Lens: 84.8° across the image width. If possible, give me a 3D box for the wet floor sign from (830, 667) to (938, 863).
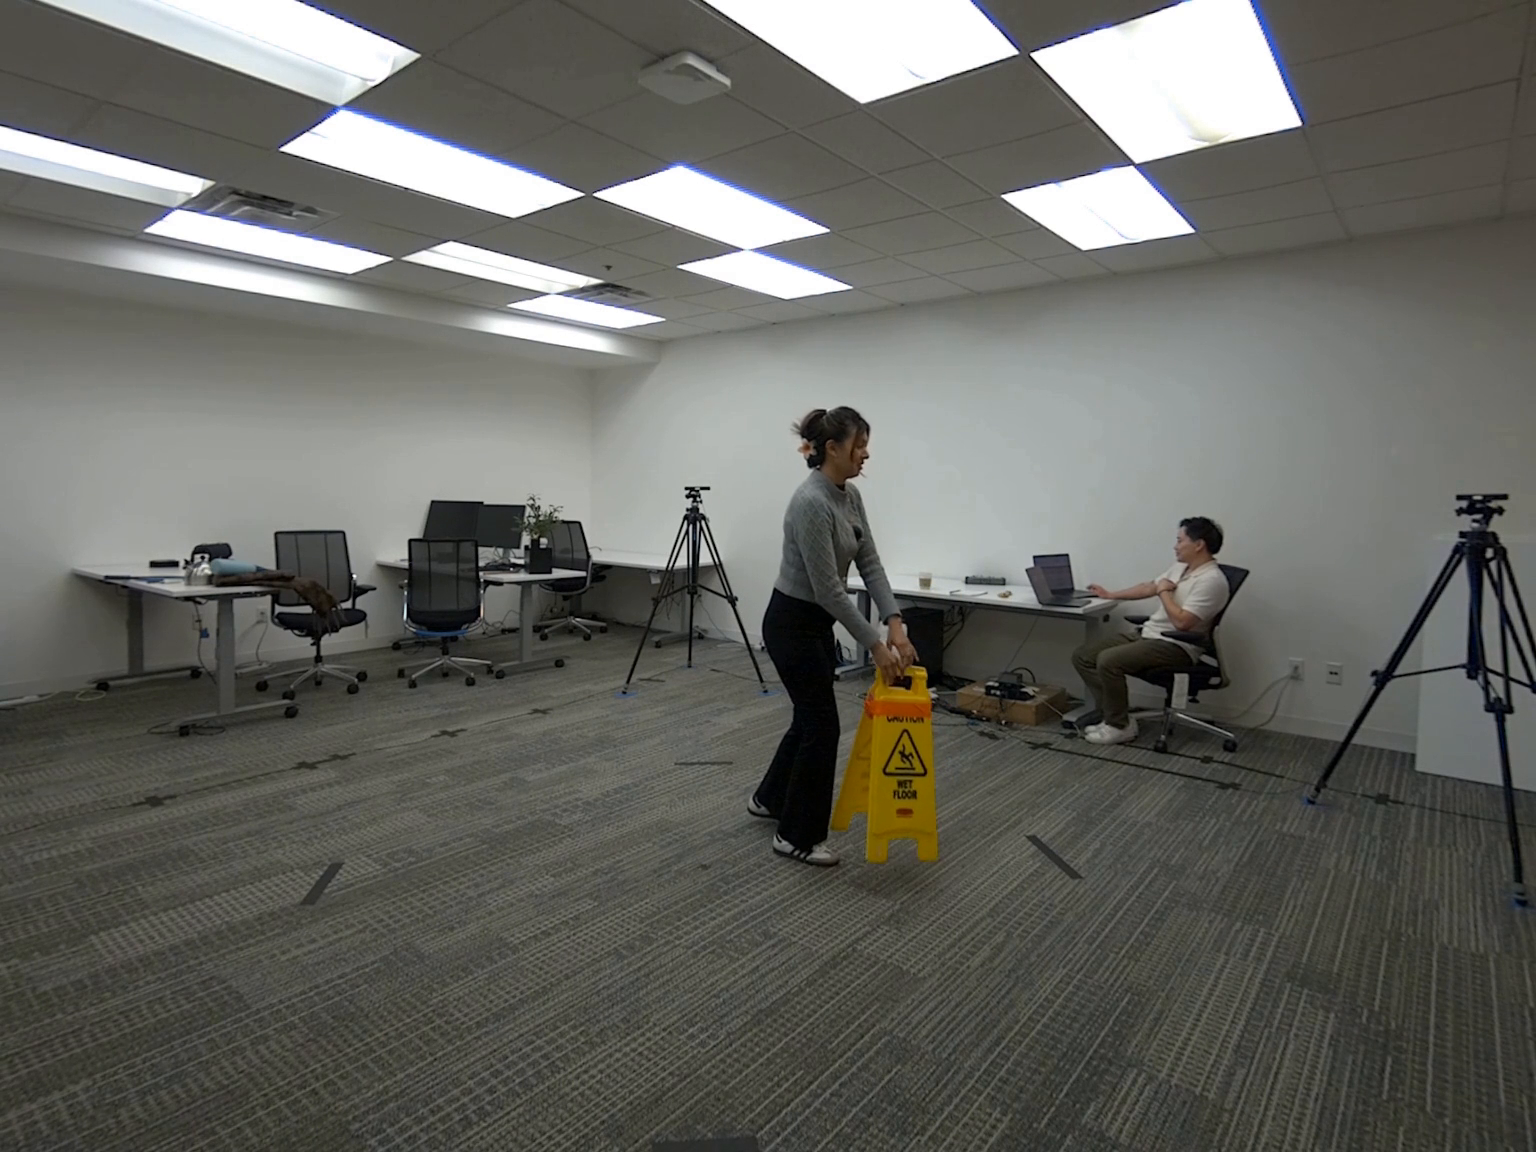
[{"bbox_3d":[0.439,0.640,3.044,0.276,0.645,0.297,5,2,-21],"label":"wet floor sign"}]
